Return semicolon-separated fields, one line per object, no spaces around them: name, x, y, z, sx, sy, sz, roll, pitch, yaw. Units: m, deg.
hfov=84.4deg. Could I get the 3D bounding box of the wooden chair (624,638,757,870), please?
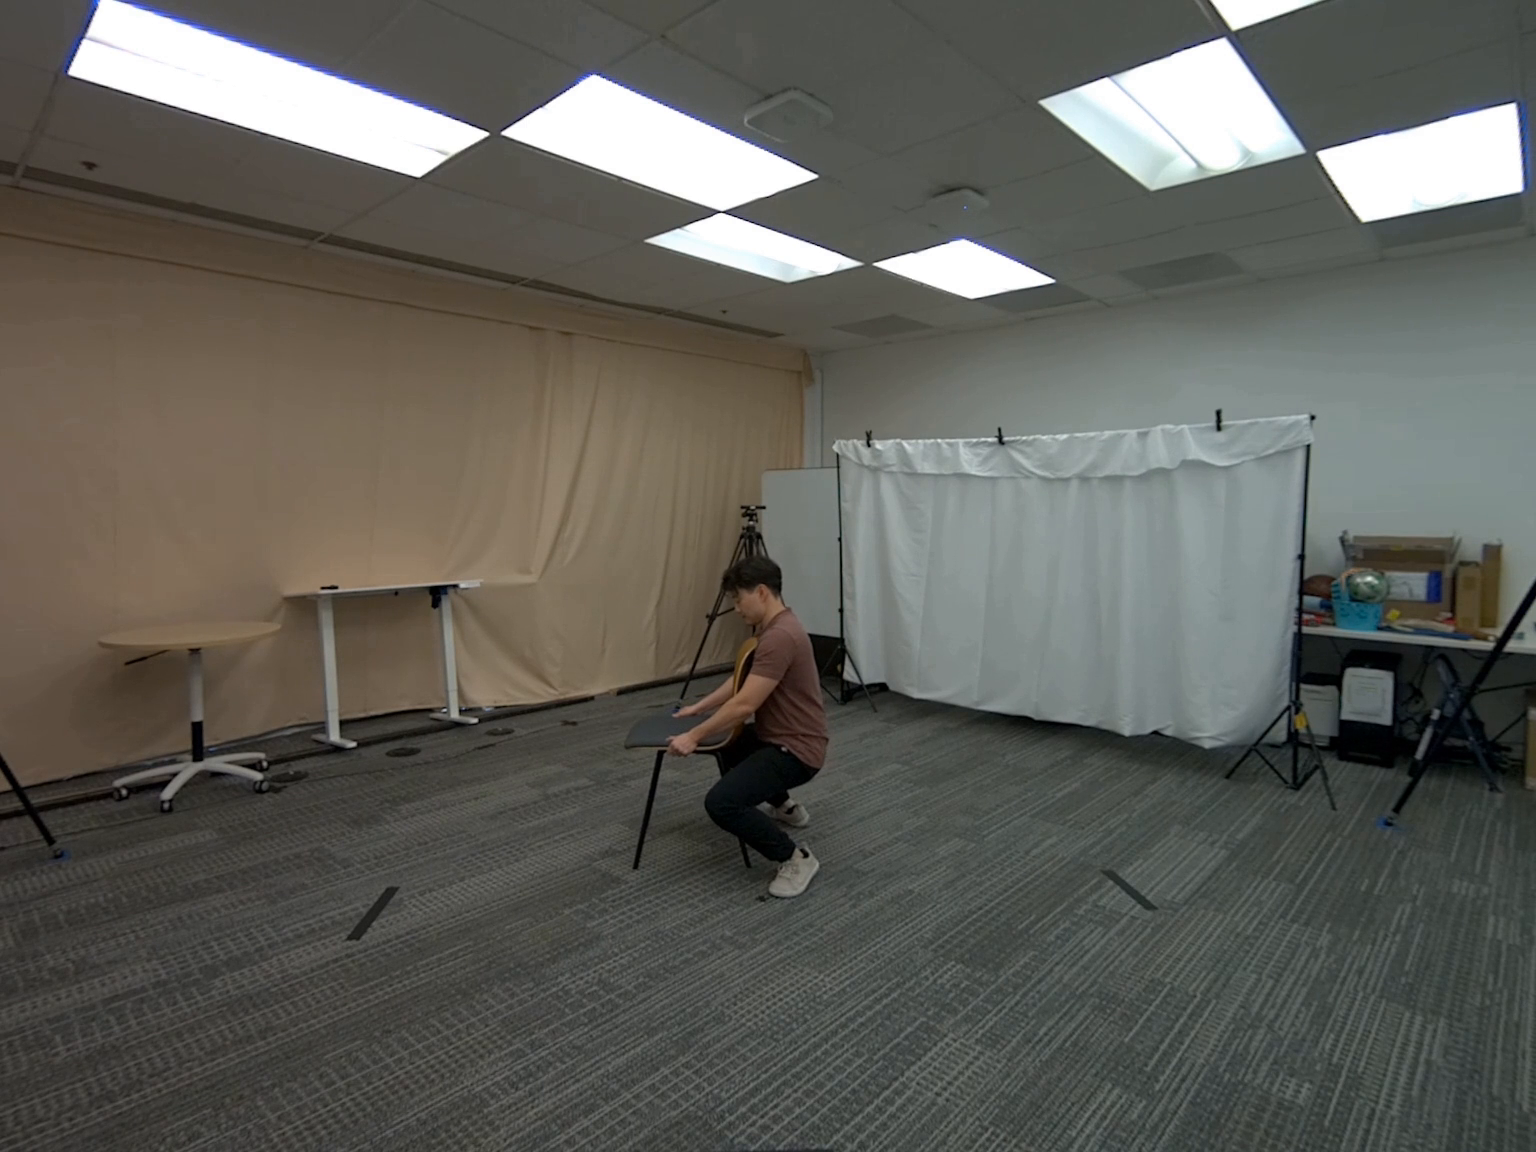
wooden chair;-0.326;0.688;3.426;0.522;0.876;0.480;4;3;-2
